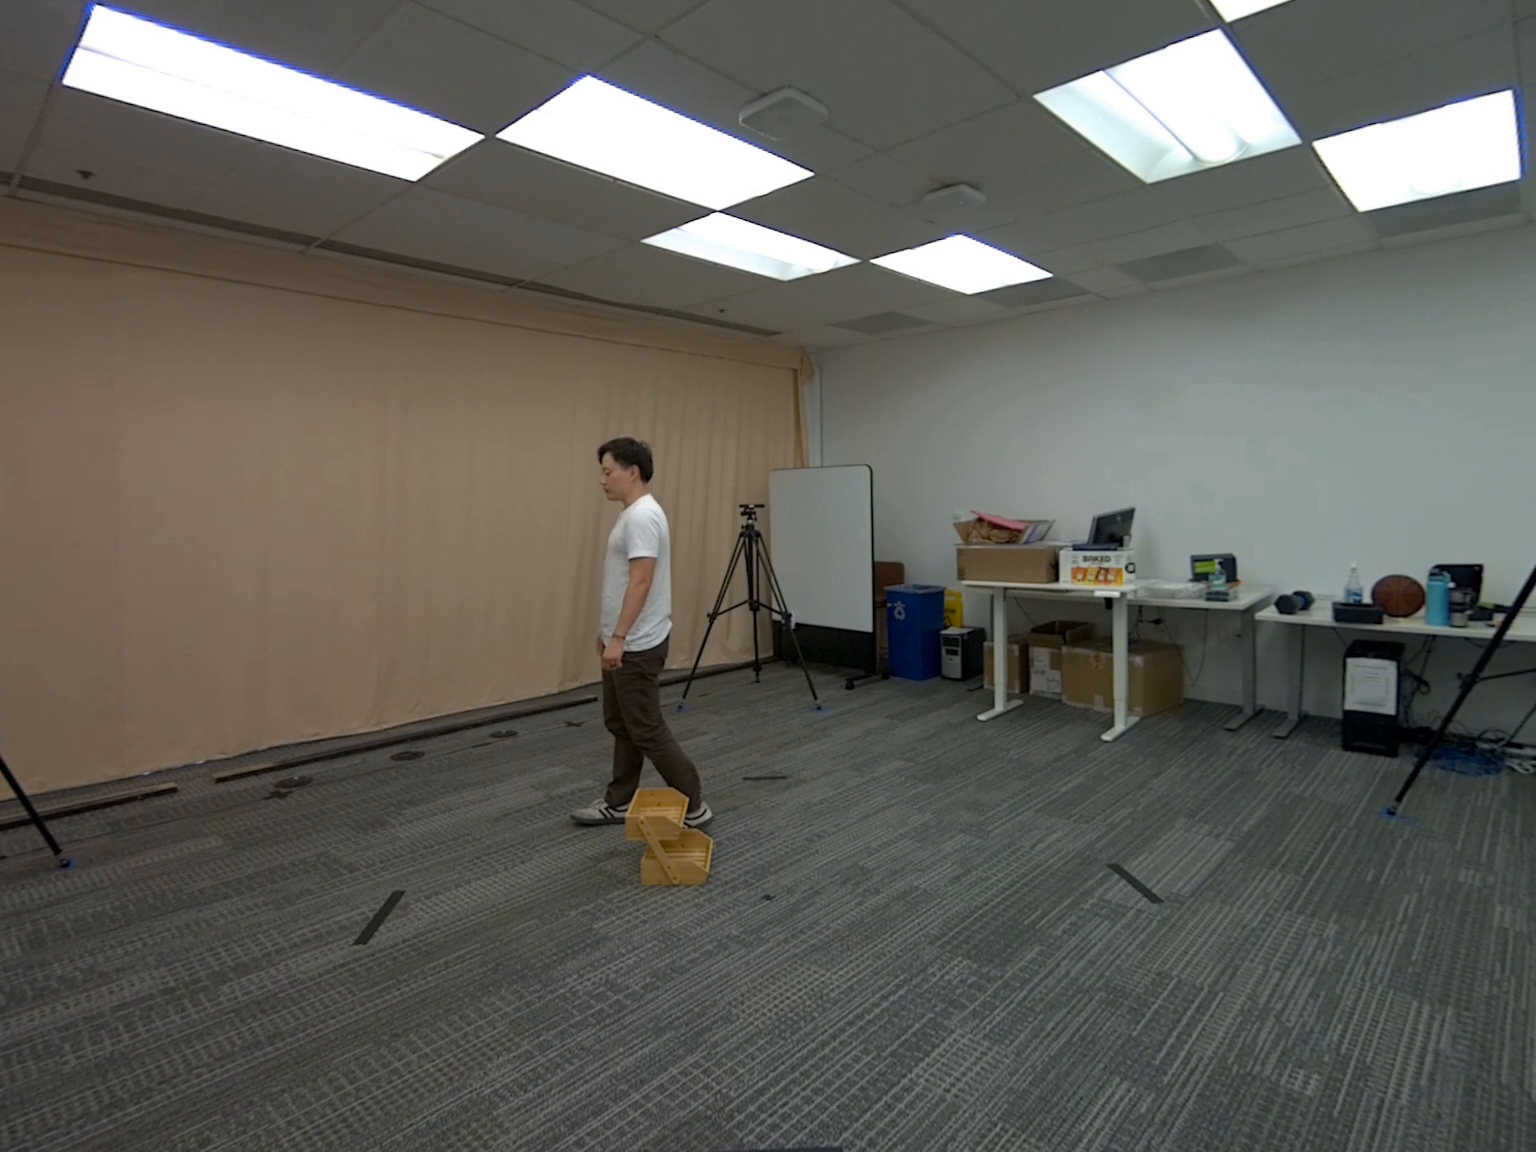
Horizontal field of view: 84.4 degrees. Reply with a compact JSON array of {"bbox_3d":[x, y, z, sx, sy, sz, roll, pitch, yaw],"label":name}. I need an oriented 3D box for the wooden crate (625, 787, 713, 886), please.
[{"bbox_3d":[-0.366,0.987,3.242,0.303,0.272,0.324,-2,4,1],"label":"wooden crate"}]
